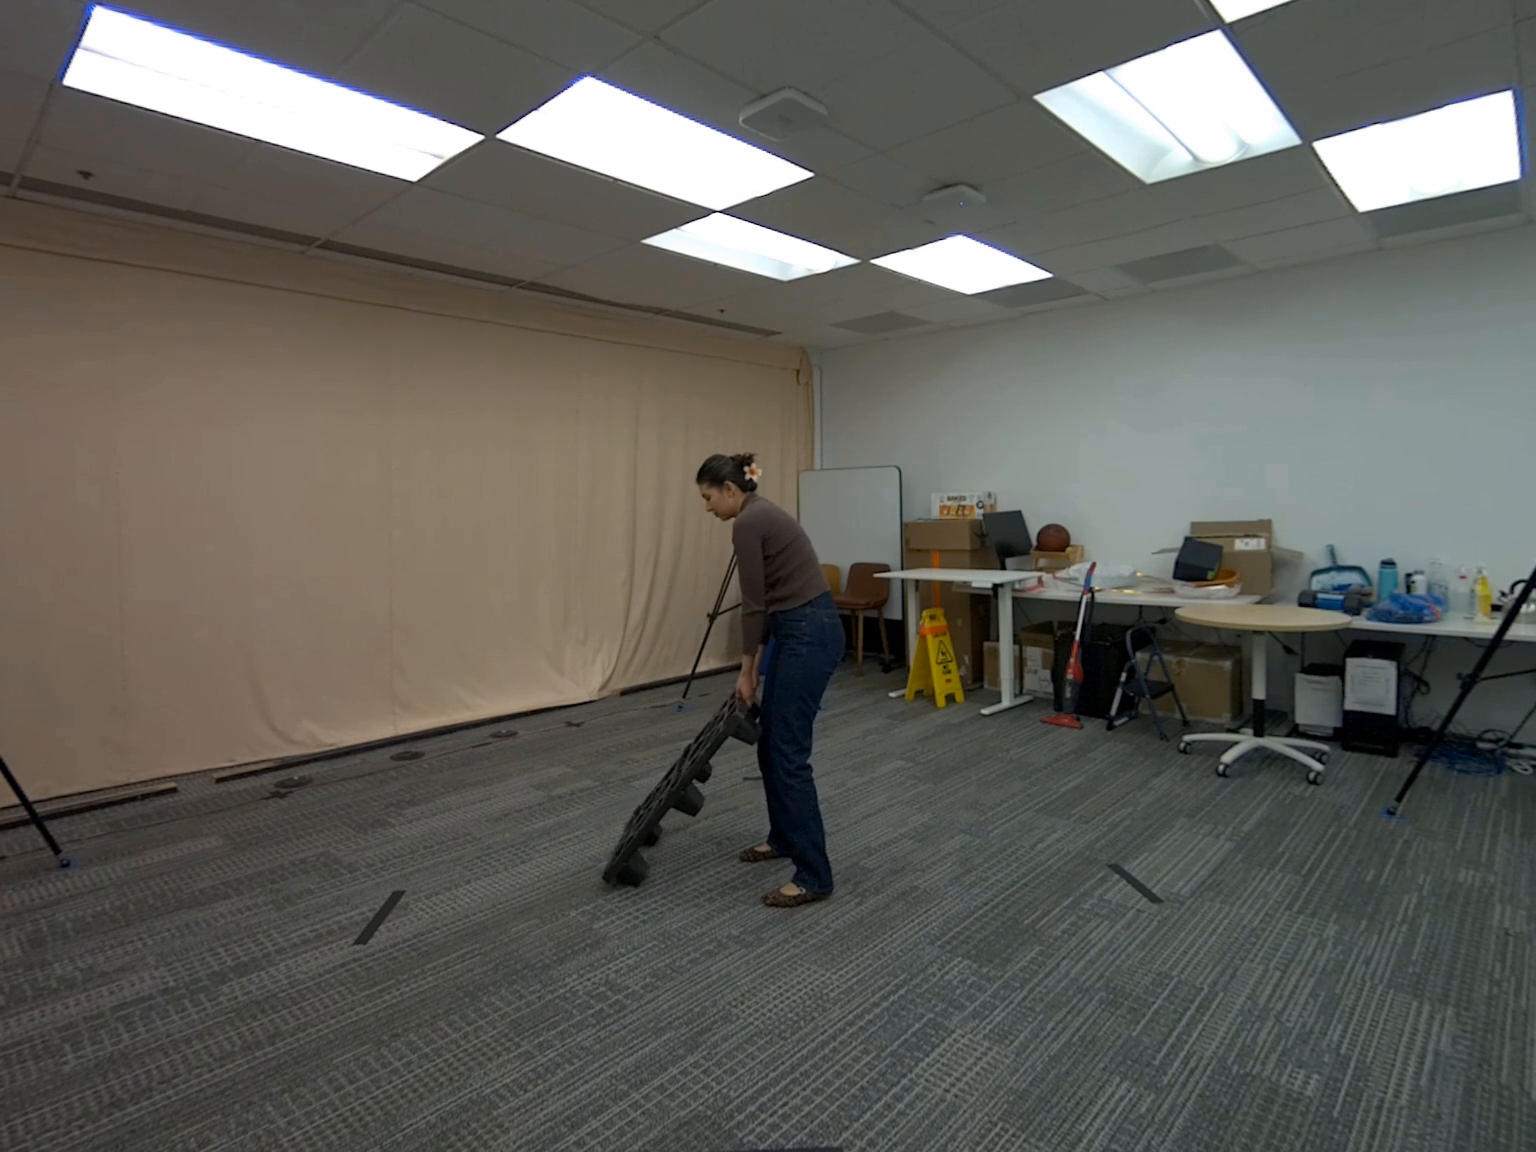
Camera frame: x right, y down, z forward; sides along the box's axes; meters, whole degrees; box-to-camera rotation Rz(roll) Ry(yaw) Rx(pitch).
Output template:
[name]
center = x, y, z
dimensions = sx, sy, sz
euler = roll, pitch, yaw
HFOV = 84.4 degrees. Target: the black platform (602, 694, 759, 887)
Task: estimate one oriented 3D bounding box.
[black platform]
center = -0.299, 0.790, 3.285
dimensions = 0.143, 0.806, 0.605
euler = 38, 5, -3
